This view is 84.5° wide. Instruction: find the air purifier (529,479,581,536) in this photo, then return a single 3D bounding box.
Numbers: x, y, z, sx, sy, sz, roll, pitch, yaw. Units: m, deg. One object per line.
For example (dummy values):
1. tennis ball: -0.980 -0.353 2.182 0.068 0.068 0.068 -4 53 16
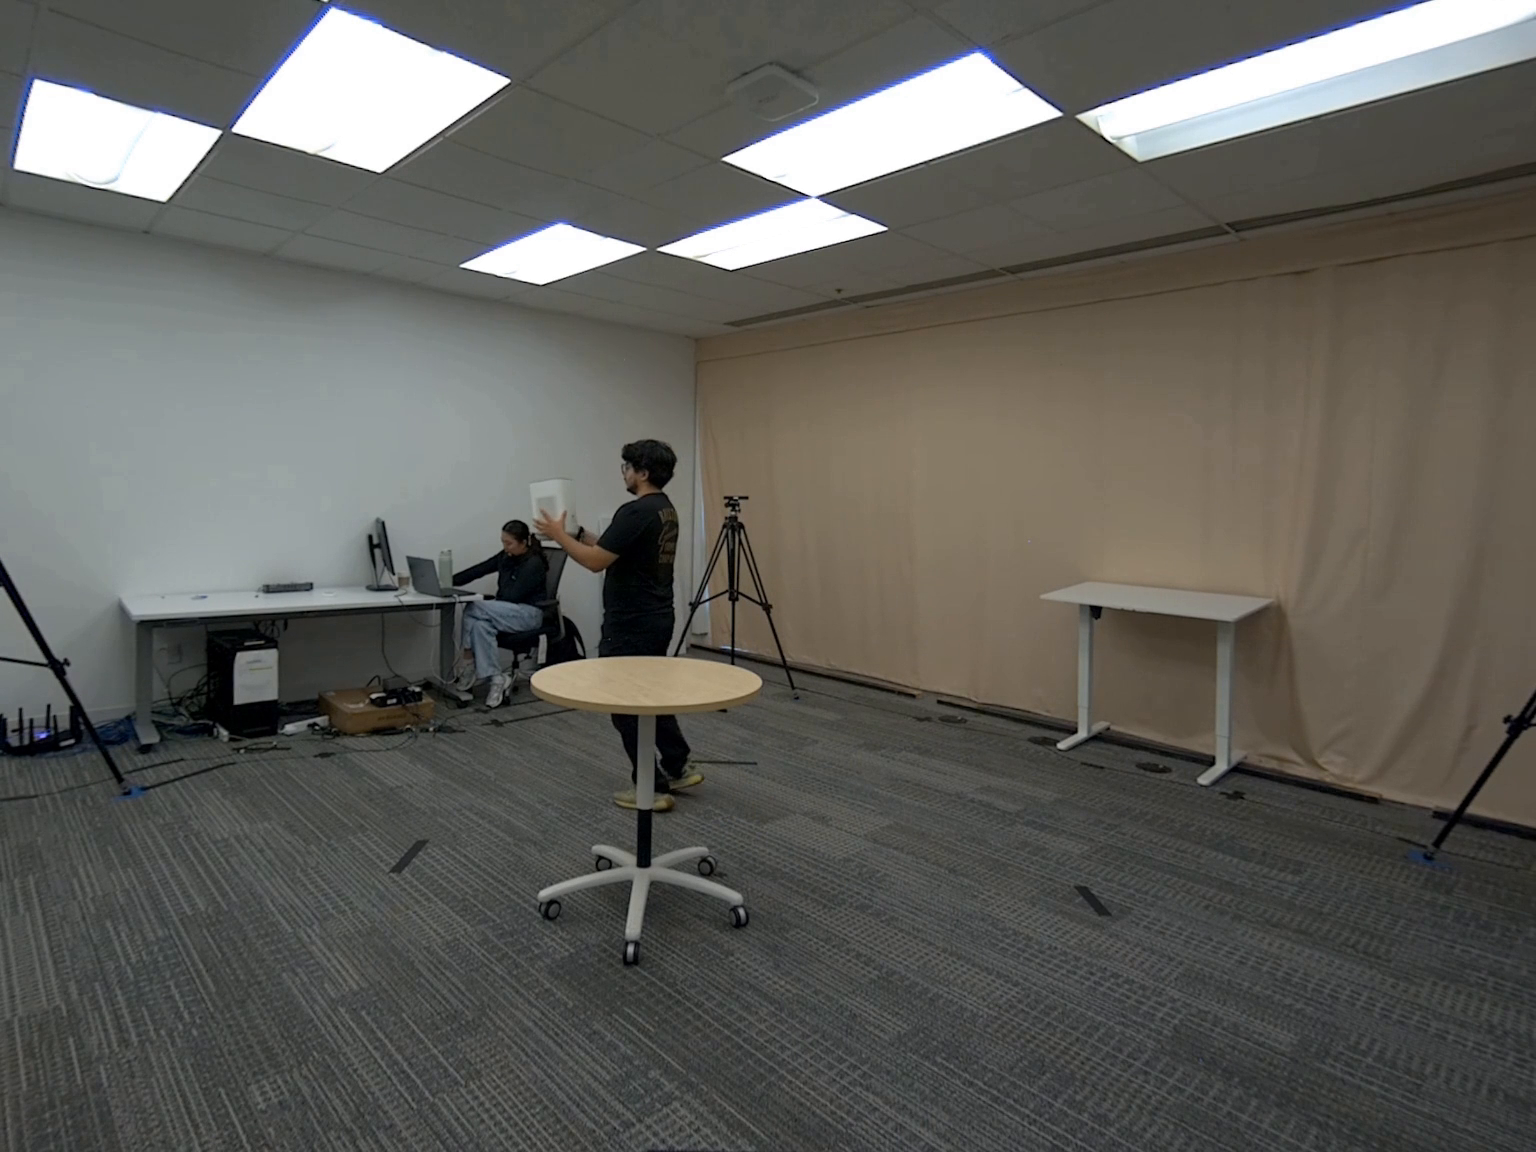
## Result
1. air purifier: -0.962 -0.298 3.803 0.173 0.265 0.169 -7 0 11
